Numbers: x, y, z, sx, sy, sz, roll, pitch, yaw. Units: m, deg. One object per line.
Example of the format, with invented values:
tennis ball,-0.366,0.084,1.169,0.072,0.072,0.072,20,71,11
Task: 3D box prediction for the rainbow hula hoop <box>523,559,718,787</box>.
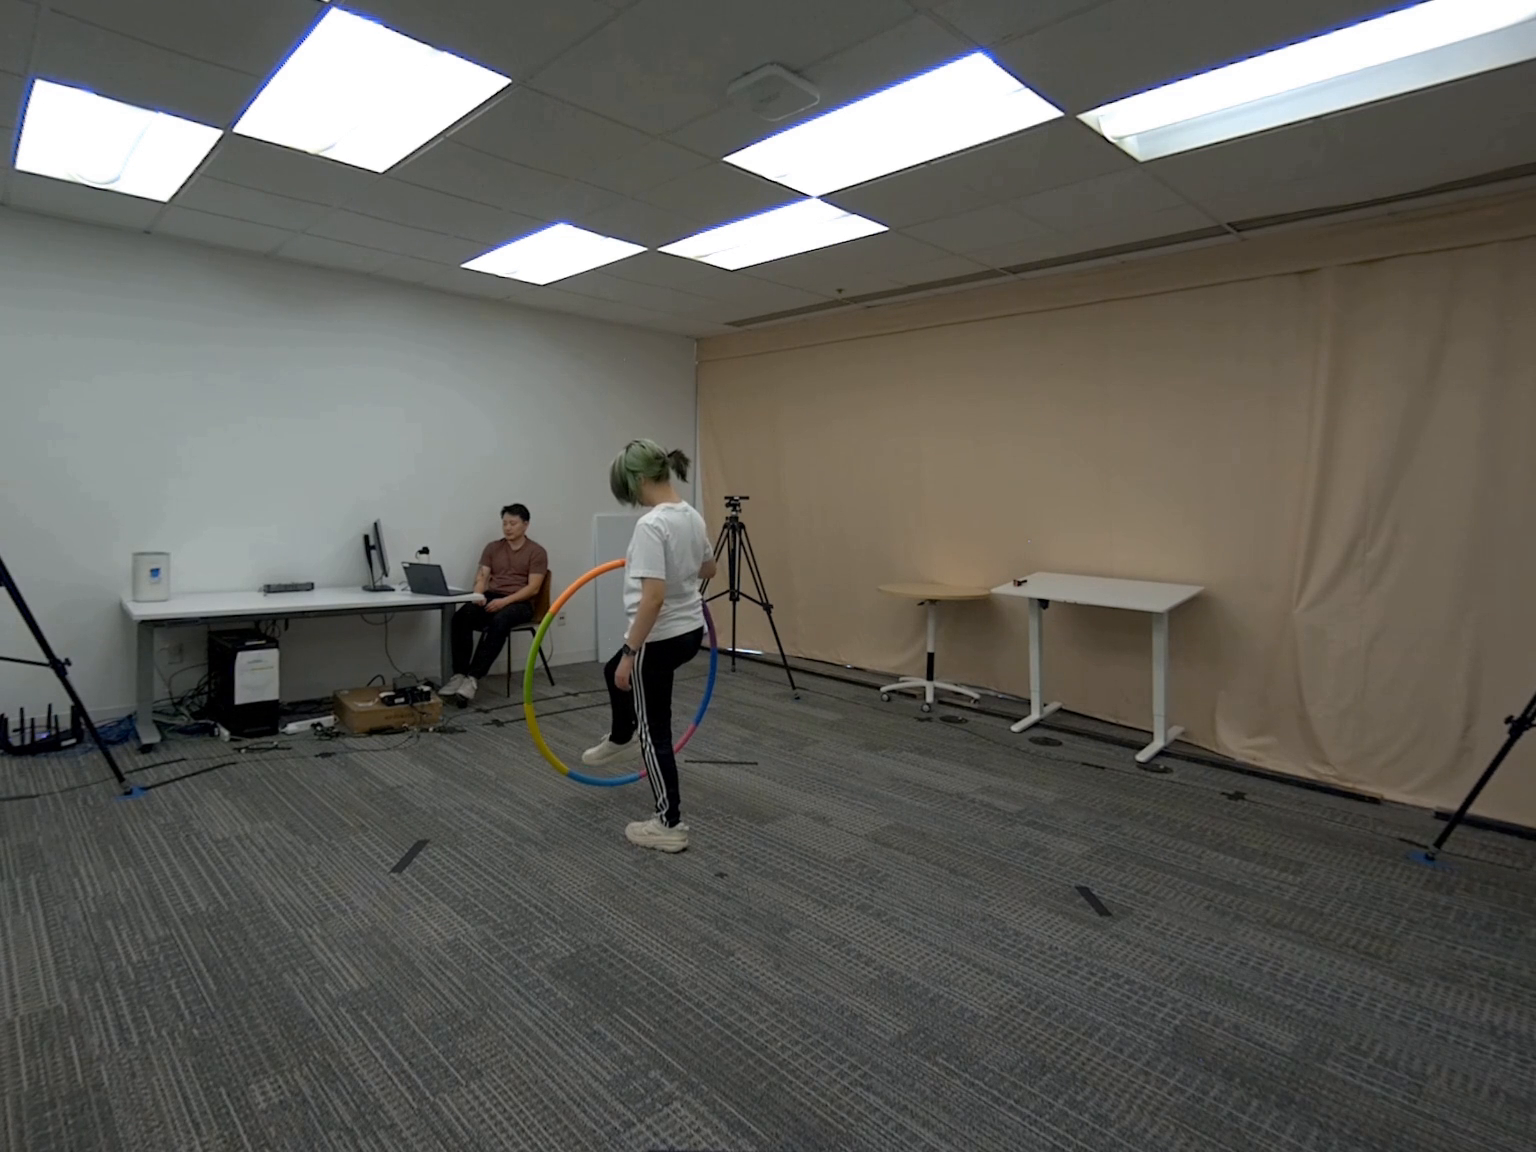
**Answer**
rainbow hula hoop,-0.612,0.418,3.644,0.956,0.974,0.036,-2,8,-41
